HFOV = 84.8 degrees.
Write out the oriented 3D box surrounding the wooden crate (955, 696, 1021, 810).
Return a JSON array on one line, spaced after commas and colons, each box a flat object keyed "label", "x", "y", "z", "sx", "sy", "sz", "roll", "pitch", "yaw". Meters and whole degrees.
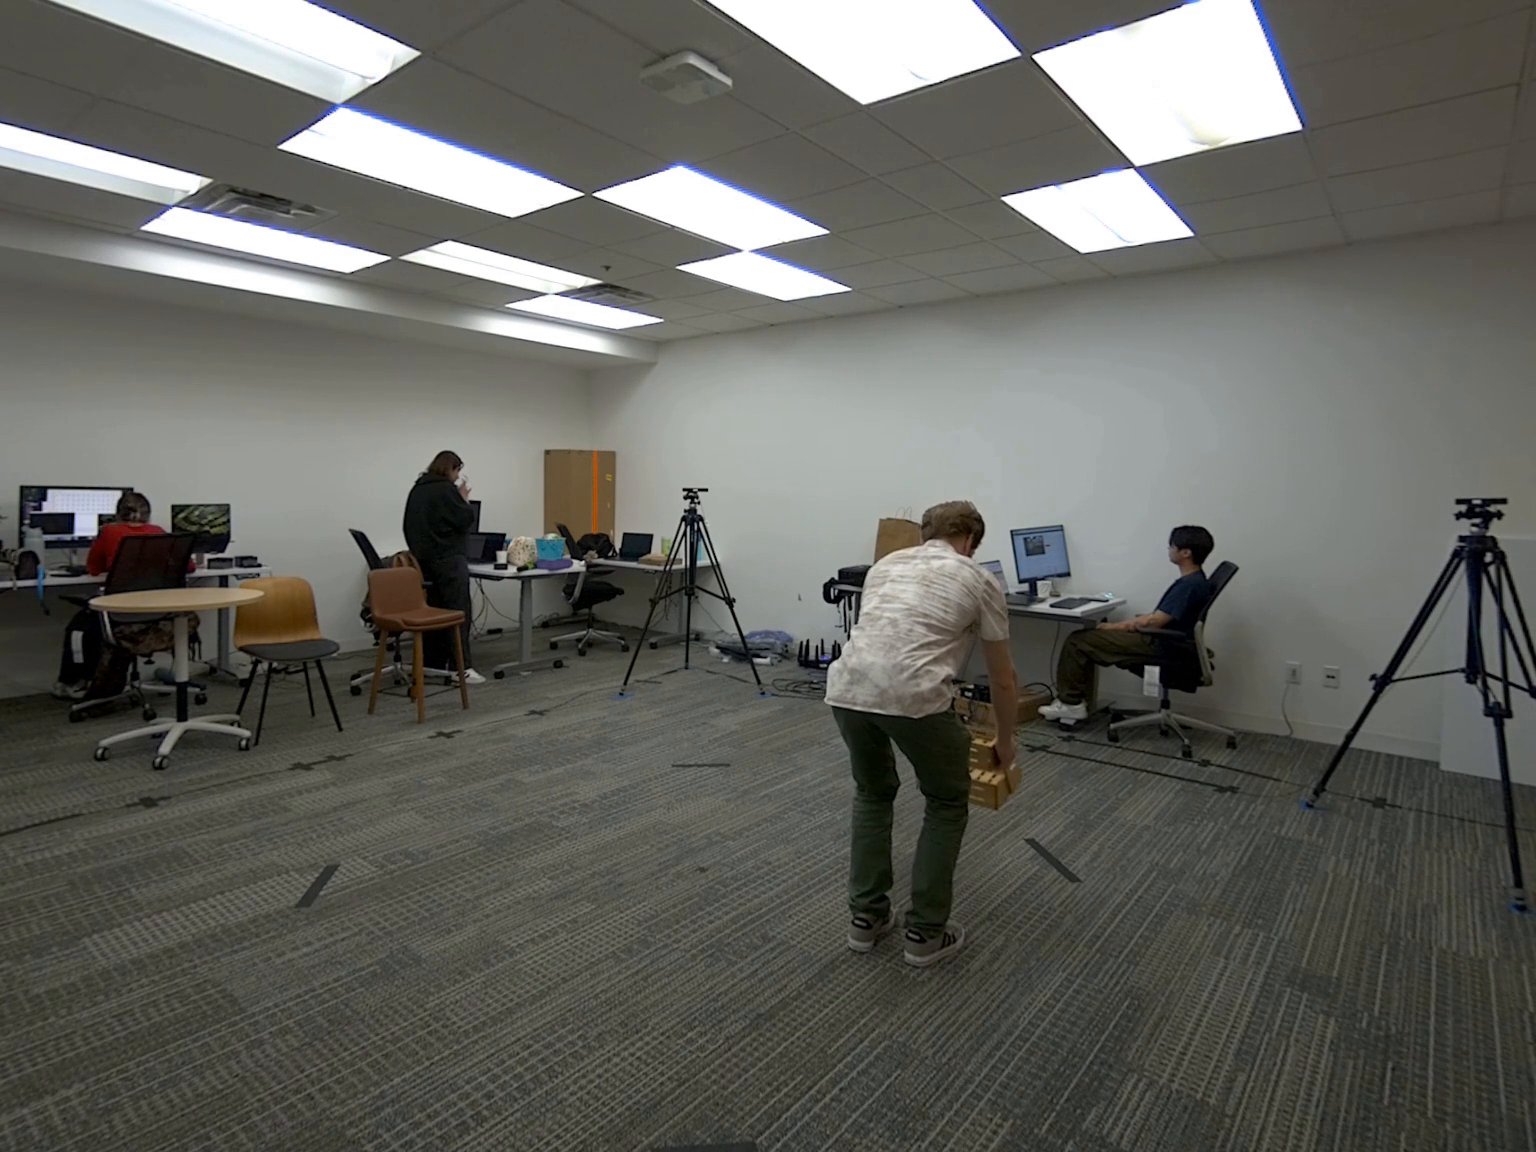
[{"label": "wooden crate", "x": 0.709, "y": 0.633, "z": 3.060, "sx": 0.335, "sy": 0.270, "sz": 0.296, "roll": 5, "pitch": 16, "yaw": 36}]
